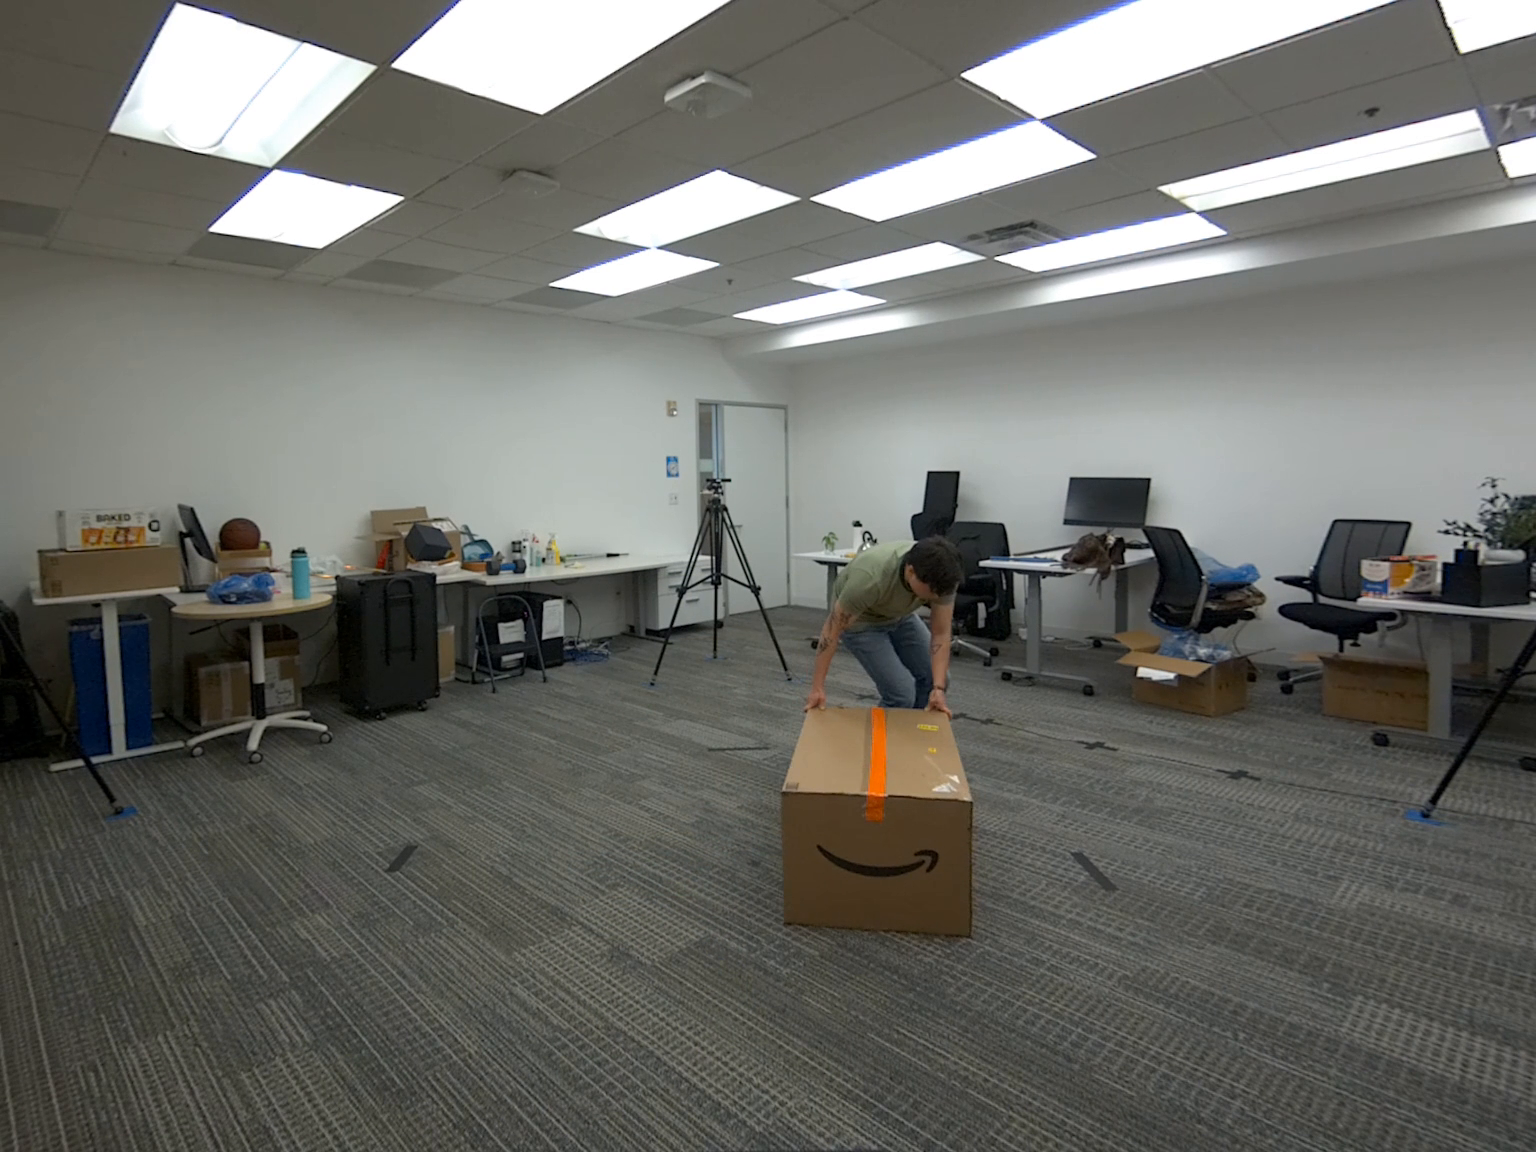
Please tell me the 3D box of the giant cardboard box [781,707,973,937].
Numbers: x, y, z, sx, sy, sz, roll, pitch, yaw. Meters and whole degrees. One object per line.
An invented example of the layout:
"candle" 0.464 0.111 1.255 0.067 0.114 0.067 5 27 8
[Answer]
"giant cardboard box" 0.394 0.823 3.107 0.583 0.424 1.020 1 6 8
